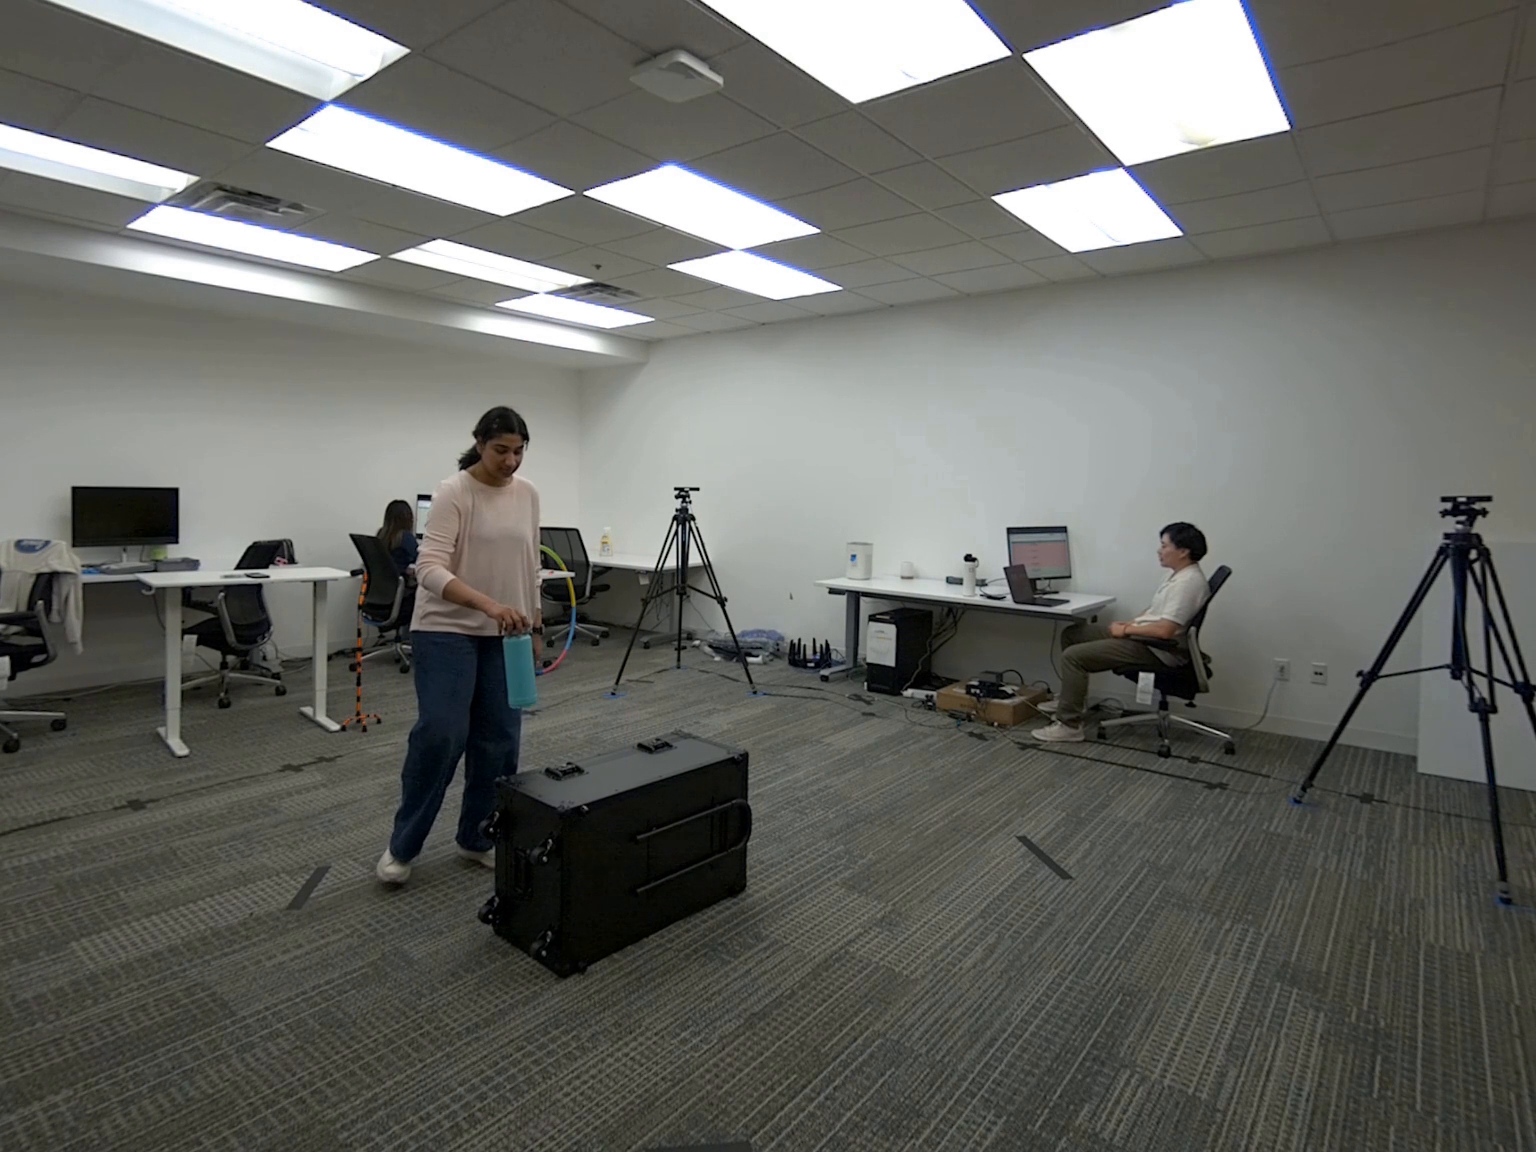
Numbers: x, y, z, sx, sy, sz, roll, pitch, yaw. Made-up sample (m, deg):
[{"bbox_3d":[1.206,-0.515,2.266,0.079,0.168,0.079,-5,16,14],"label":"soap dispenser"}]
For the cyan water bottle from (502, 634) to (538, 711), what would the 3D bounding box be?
[{"bbox_3d":[-0.810,0.273,2.714,0.092,0.283,0.092,-5,2,-2],"label":"cyan water bottle"}]
